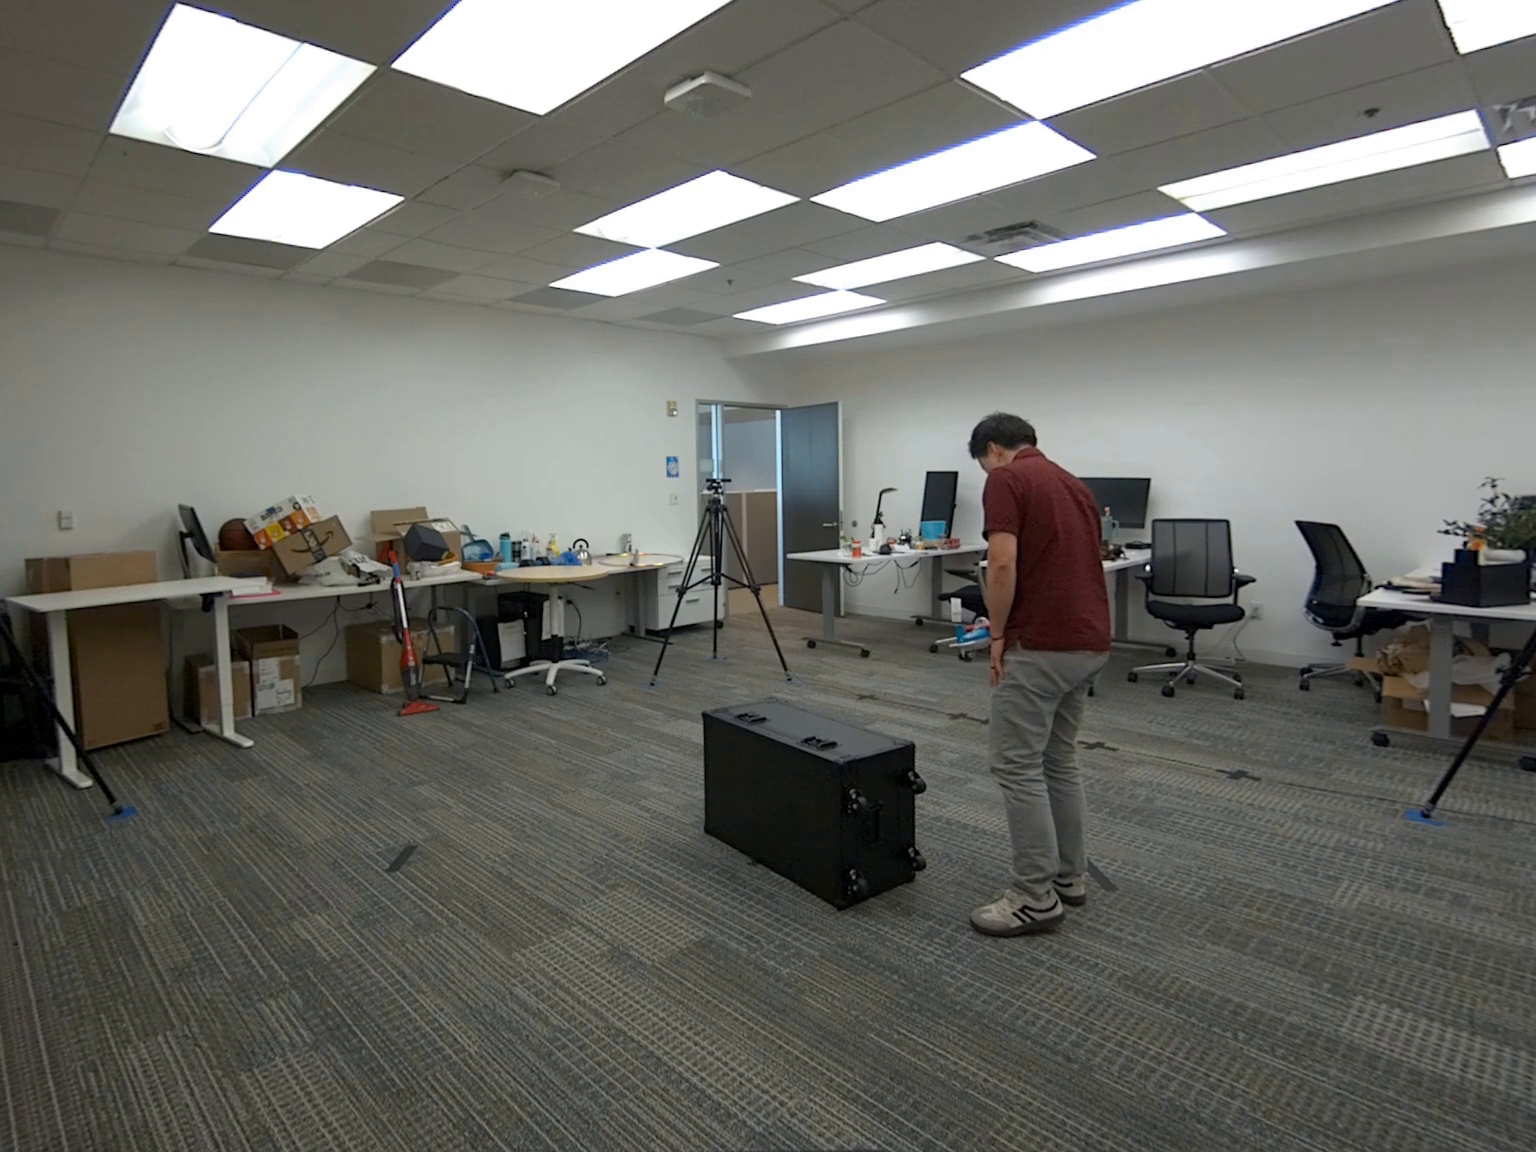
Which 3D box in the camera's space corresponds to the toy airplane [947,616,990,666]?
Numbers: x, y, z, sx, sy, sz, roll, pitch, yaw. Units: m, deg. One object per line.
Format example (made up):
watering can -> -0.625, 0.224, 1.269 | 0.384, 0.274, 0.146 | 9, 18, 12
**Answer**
toy airplane -> 0.842, 0.244, 3.181 | 0.258, 0.158, 0.250 | -5, -13, 41
